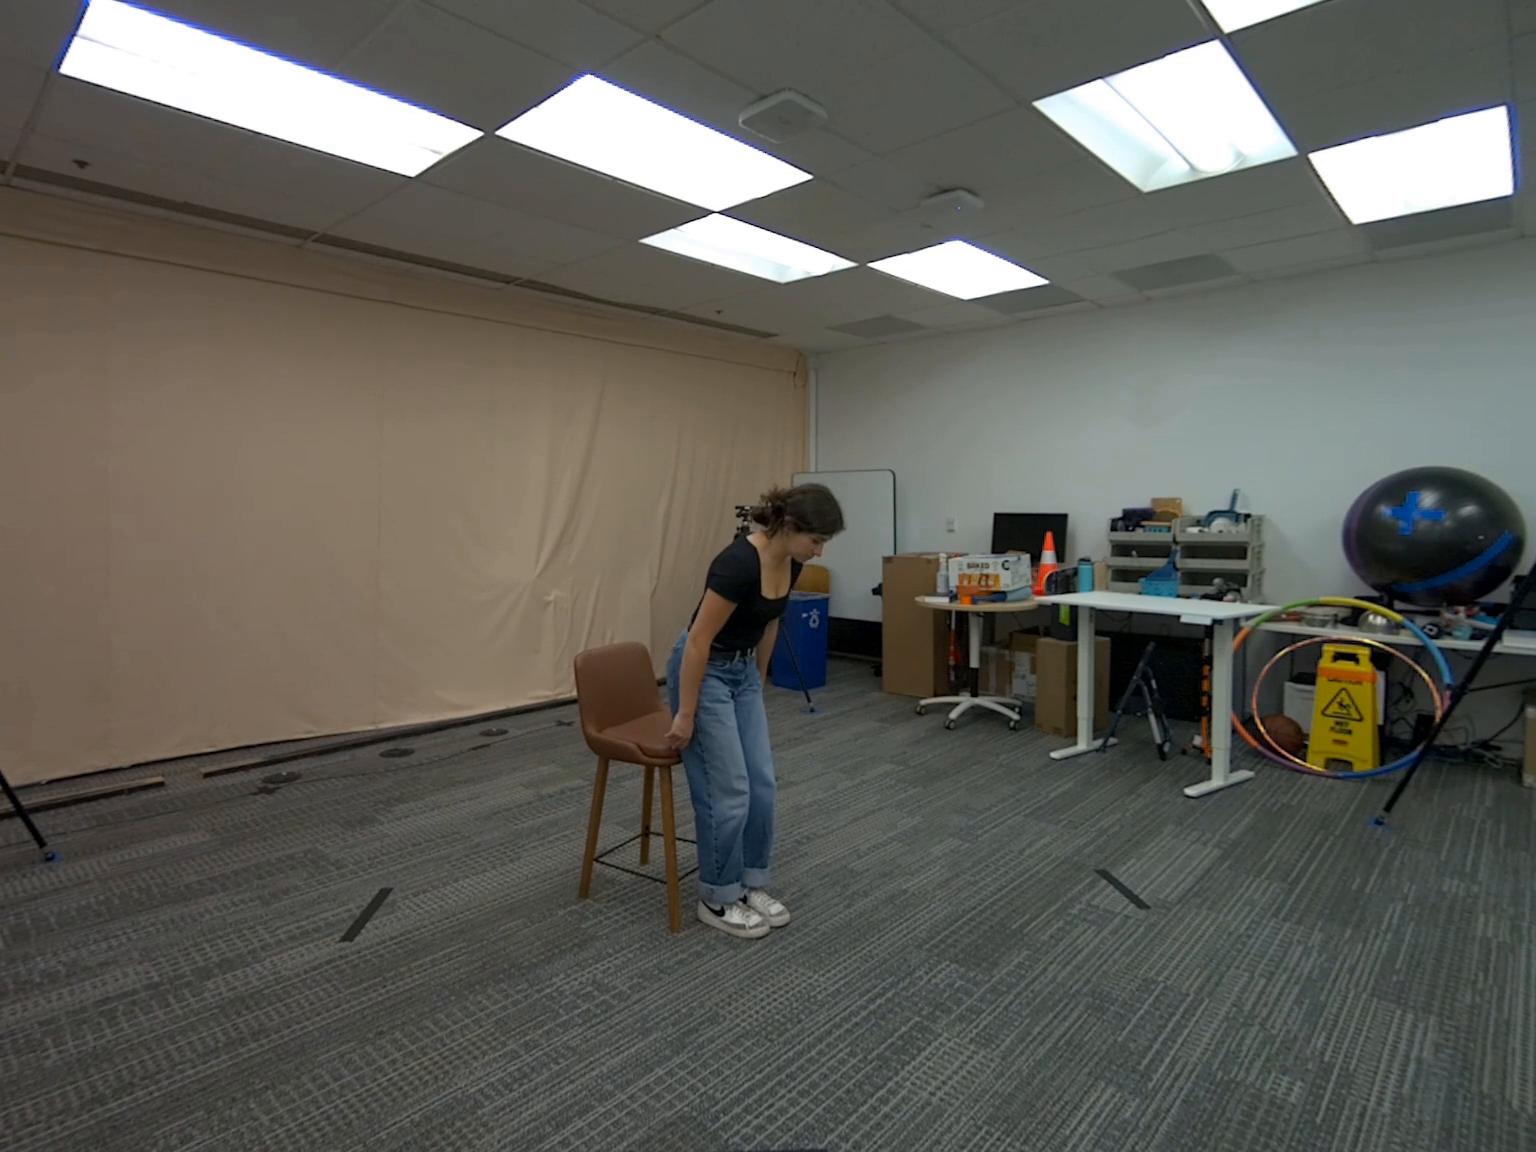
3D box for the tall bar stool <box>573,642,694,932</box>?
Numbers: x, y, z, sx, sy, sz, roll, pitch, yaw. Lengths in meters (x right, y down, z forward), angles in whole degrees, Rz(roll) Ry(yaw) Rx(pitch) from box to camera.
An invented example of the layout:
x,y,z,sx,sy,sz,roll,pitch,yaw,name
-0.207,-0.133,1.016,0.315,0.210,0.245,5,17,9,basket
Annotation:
x,y,z,sx,sy,sz,roll,pitch,yaw,name
-0.398,0.712,3.020,0.481,0.888,0.444,0,2,33,tall bar stool
